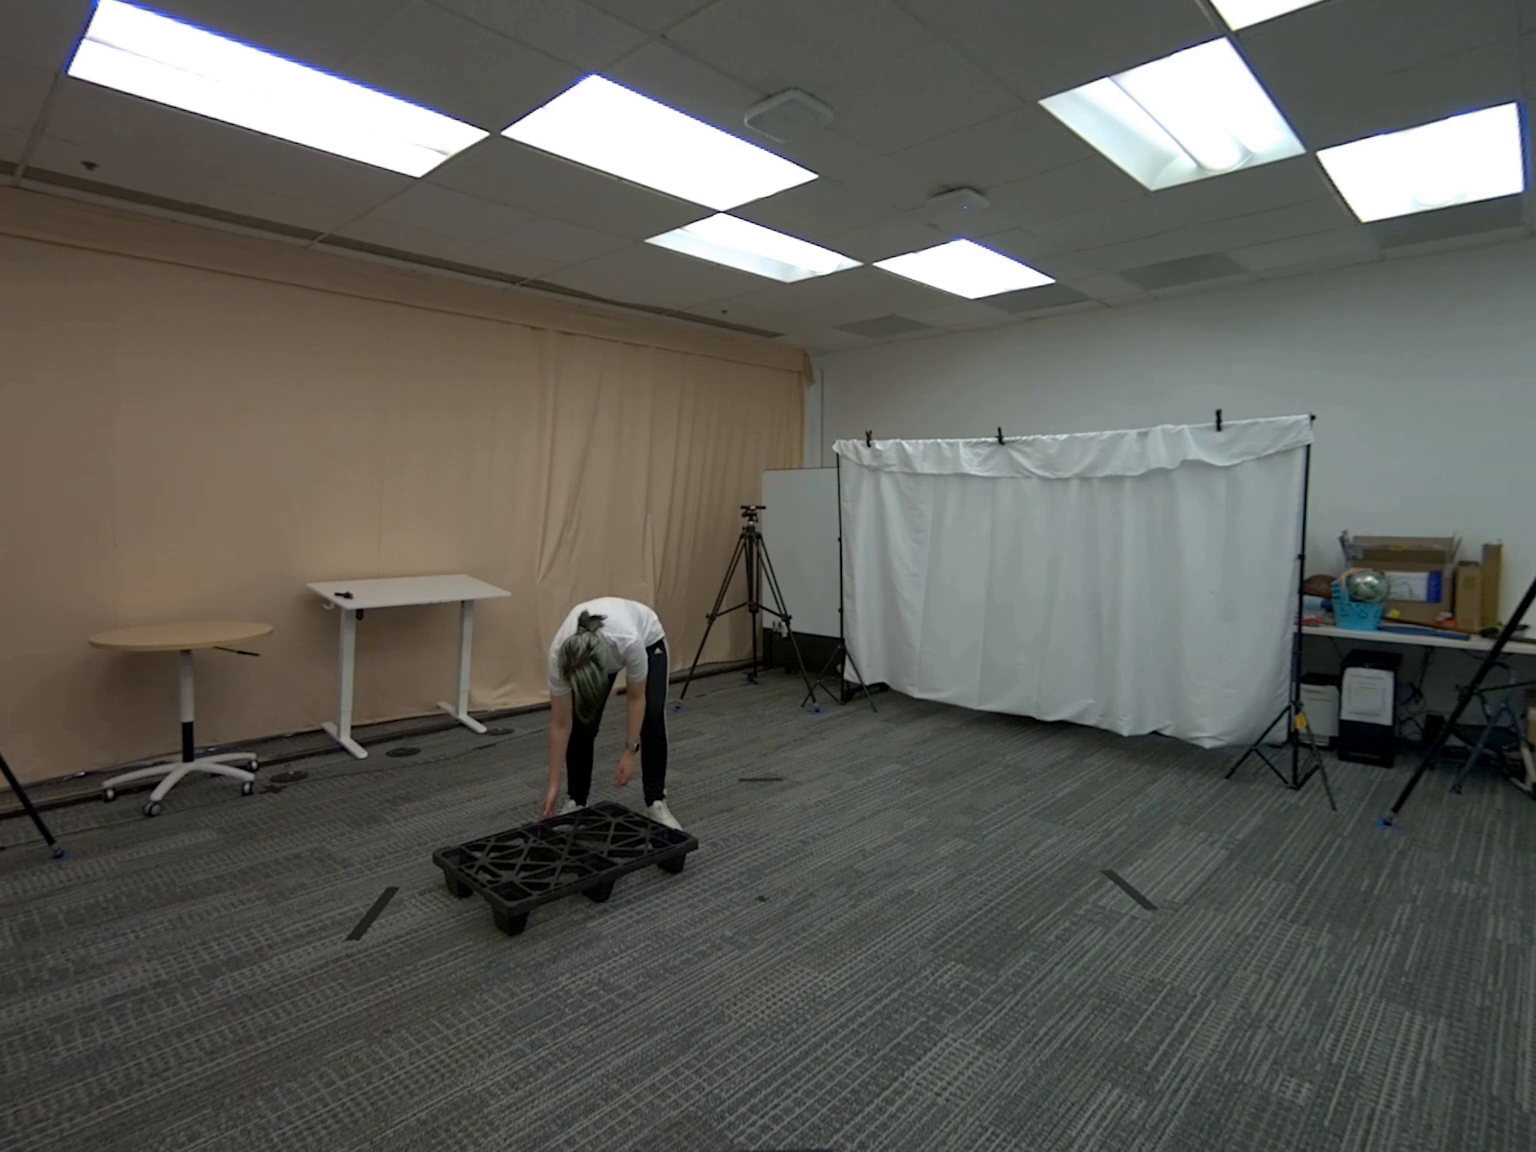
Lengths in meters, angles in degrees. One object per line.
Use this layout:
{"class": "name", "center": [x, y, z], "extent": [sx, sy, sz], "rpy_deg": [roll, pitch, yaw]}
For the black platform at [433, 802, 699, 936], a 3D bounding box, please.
{"class": "black platform", "center": [-0.744, 1.070, 3.140], "extent": [0.781, 0.143, 0.625], "rpy_deg": [-5, 7, -43]}
